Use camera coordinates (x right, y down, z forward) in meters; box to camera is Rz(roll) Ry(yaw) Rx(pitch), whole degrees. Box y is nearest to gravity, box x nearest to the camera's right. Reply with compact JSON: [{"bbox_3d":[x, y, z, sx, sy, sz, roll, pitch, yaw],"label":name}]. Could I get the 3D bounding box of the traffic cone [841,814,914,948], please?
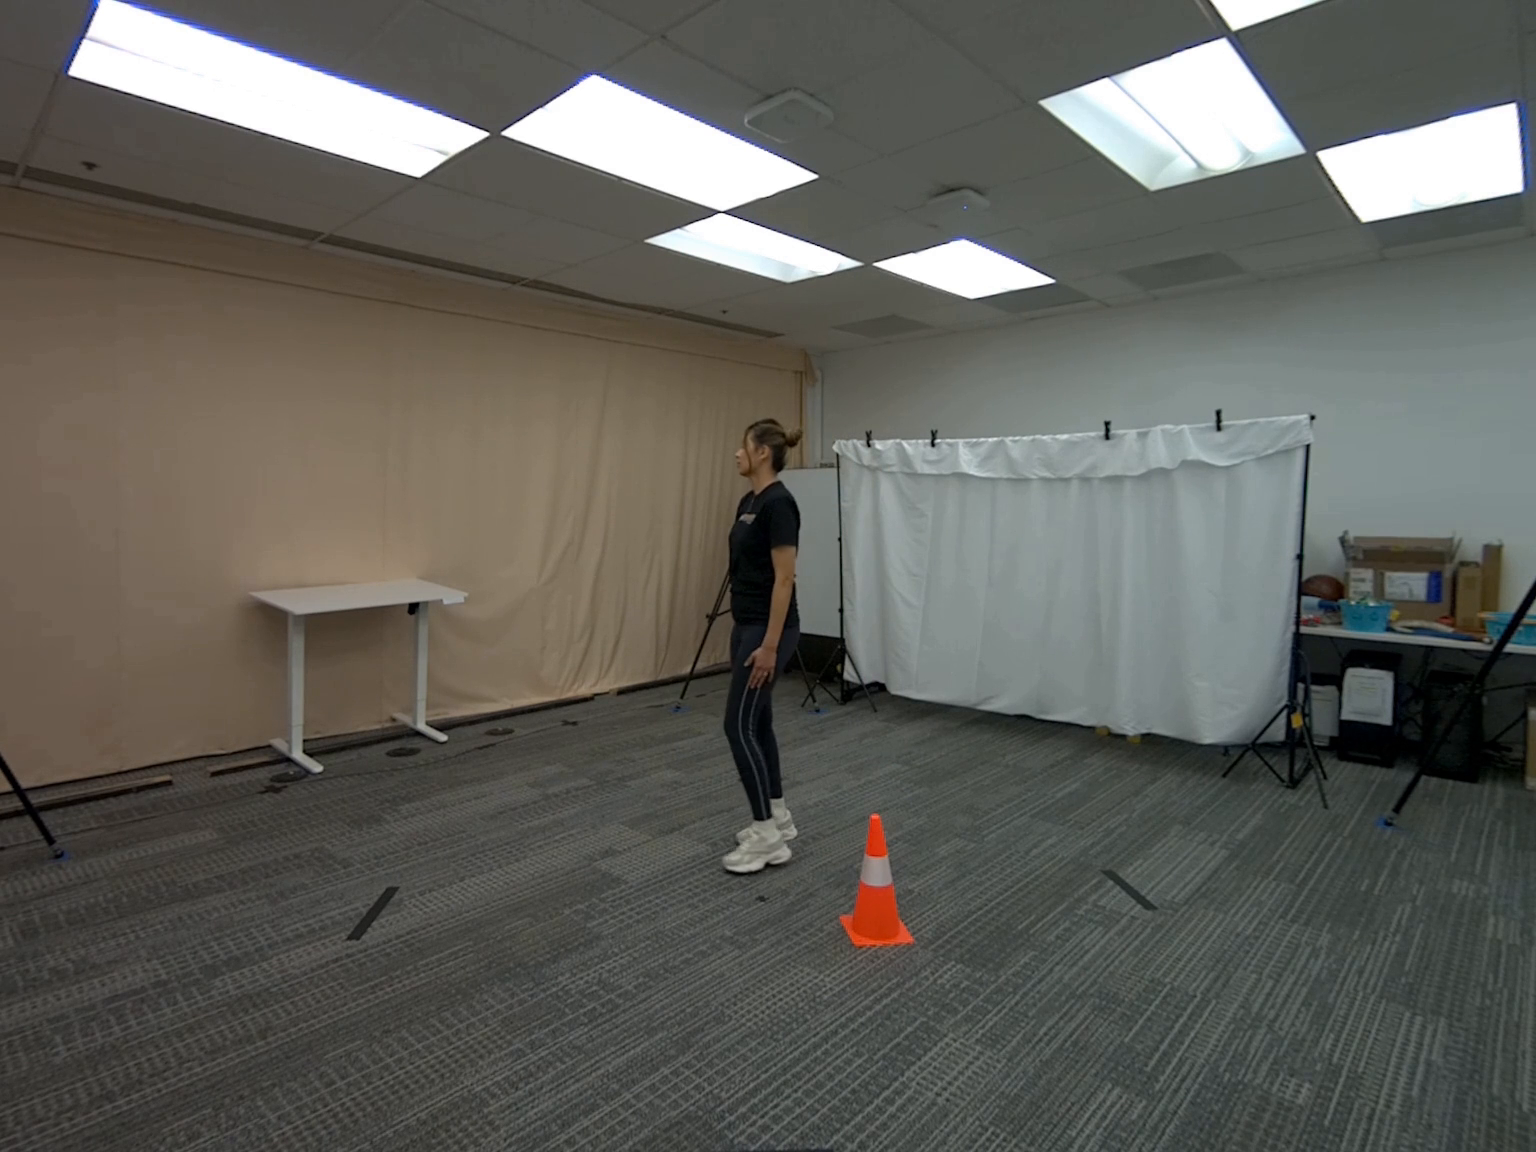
[{"bbox_3d":[0.354,0.975,2.755,0.203,0.383,0.205,-1,3,-7],"label":"traffic cone"}]
